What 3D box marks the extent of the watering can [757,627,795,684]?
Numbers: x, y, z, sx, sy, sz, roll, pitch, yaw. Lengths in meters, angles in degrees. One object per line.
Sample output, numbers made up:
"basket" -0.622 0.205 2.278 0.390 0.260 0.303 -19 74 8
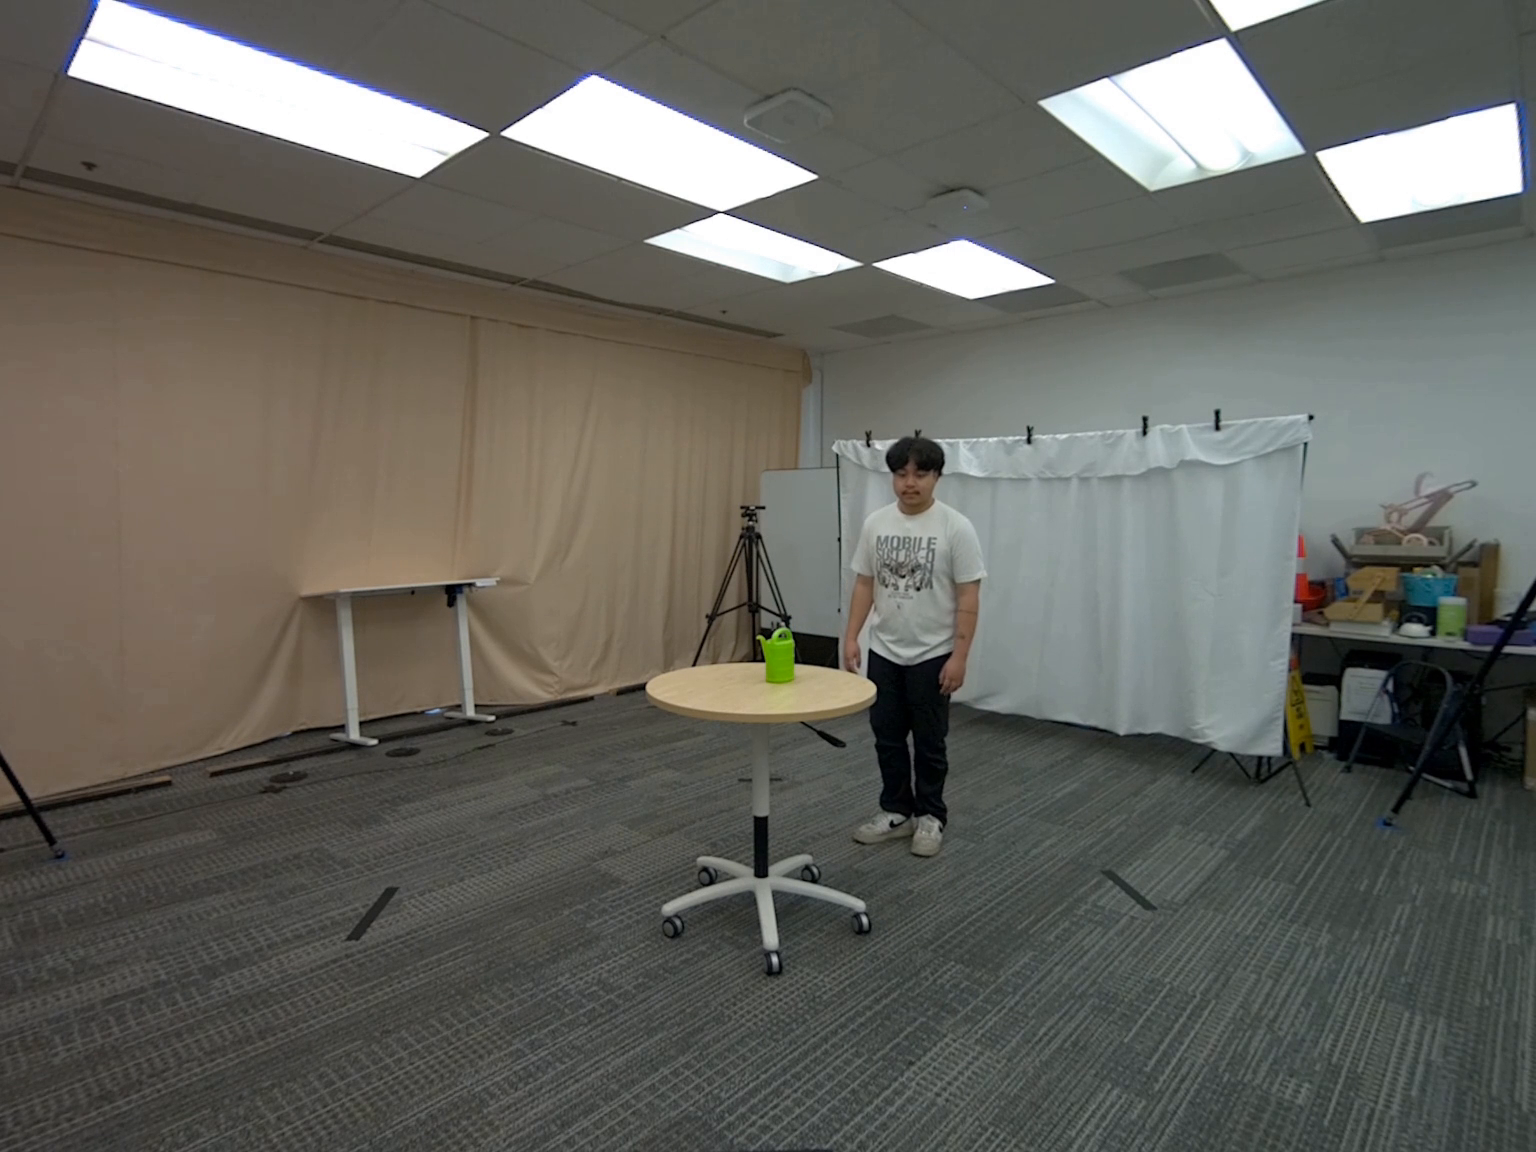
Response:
"watering can" 0.021 0.276 2.858 0.101 0.176 0.270 6 6 38
